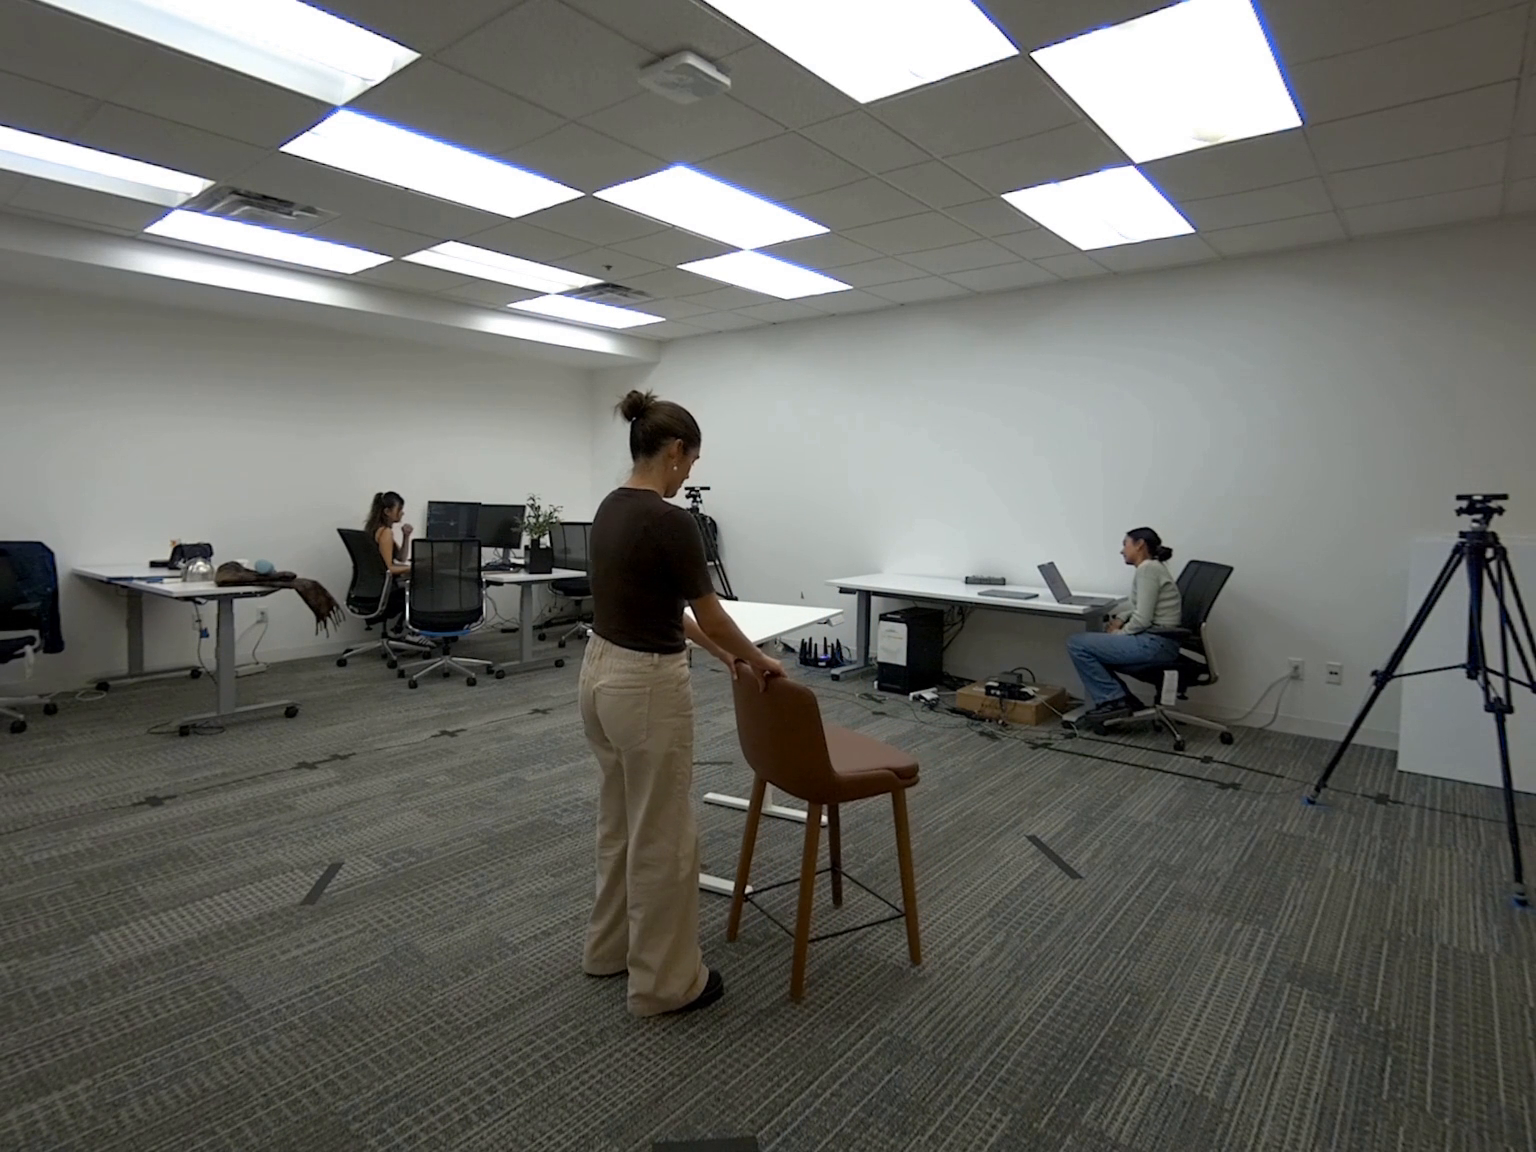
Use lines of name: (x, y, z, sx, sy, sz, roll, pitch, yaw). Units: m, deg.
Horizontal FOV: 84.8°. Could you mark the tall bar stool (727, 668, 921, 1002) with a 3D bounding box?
tall bar stool: (0.153, 0.686, 2.542, 0.456, 0.886, 0.470, -4, 5, -31)
